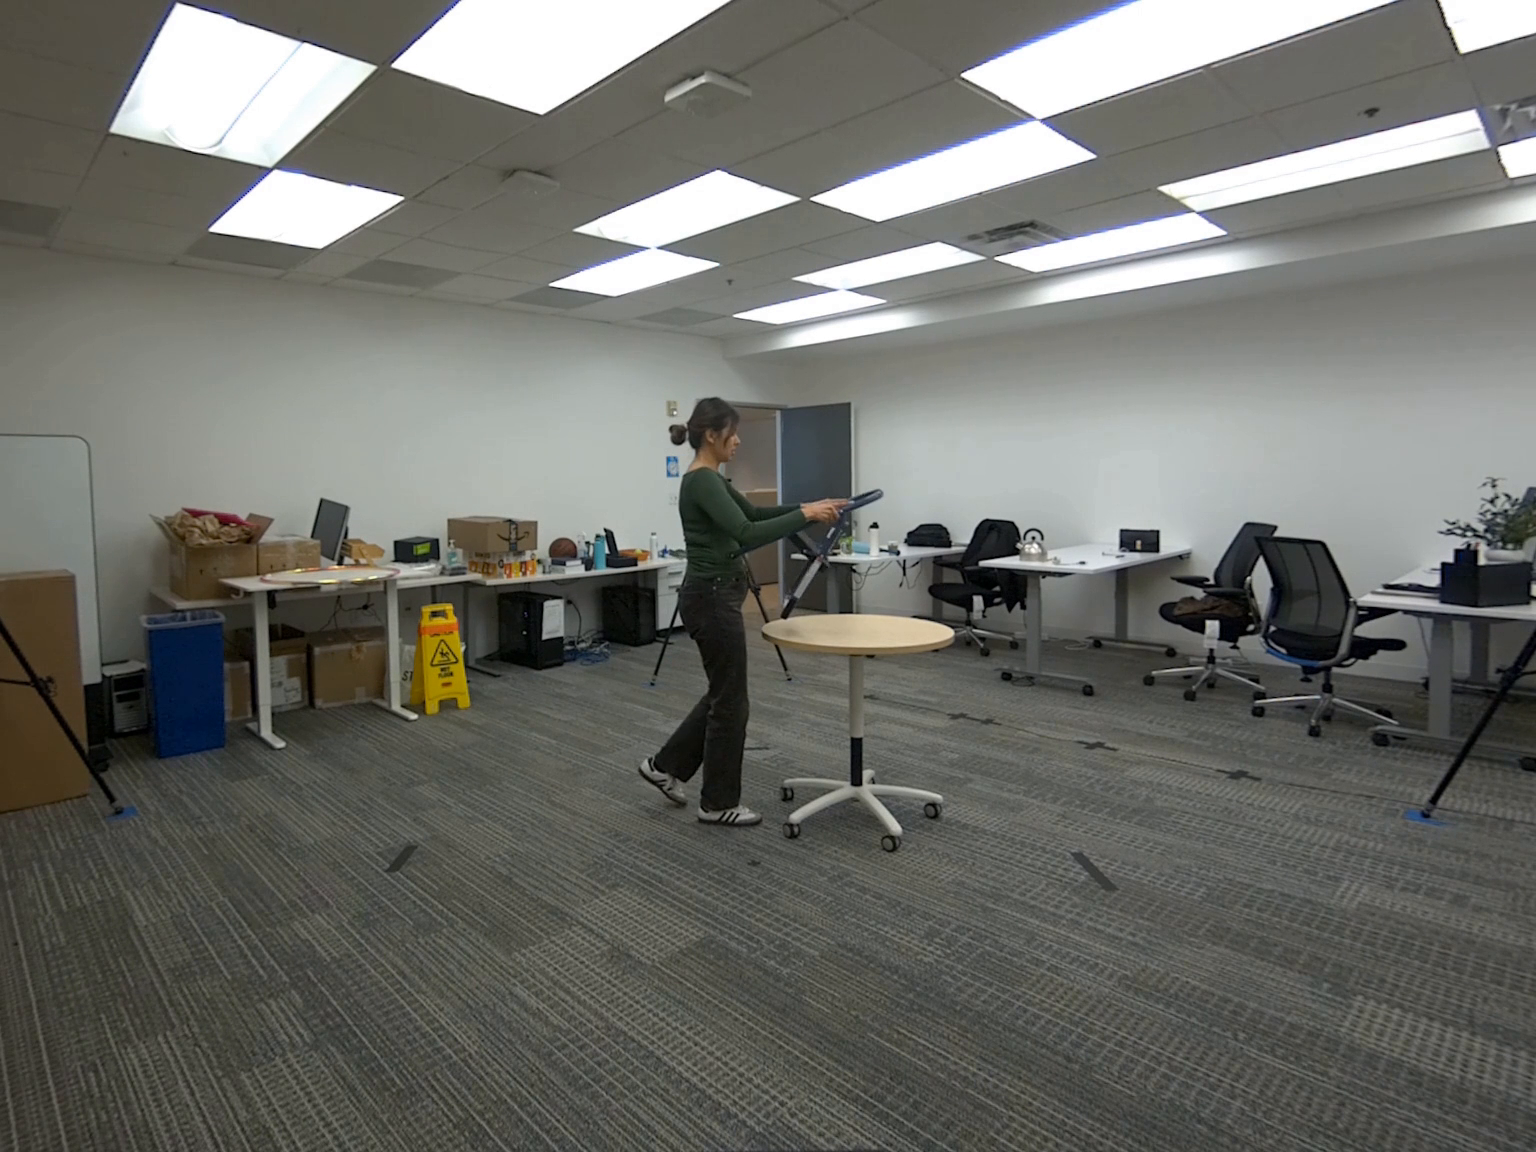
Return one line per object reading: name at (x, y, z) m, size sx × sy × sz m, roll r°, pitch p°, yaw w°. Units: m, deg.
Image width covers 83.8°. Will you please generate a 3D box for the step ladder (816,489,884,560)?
step ladder at (0.176, -0.184, 3.410) m, size 0.606 × 0.349 × 0.431 m, roll -42°, pitch 2°, yaw 8°
